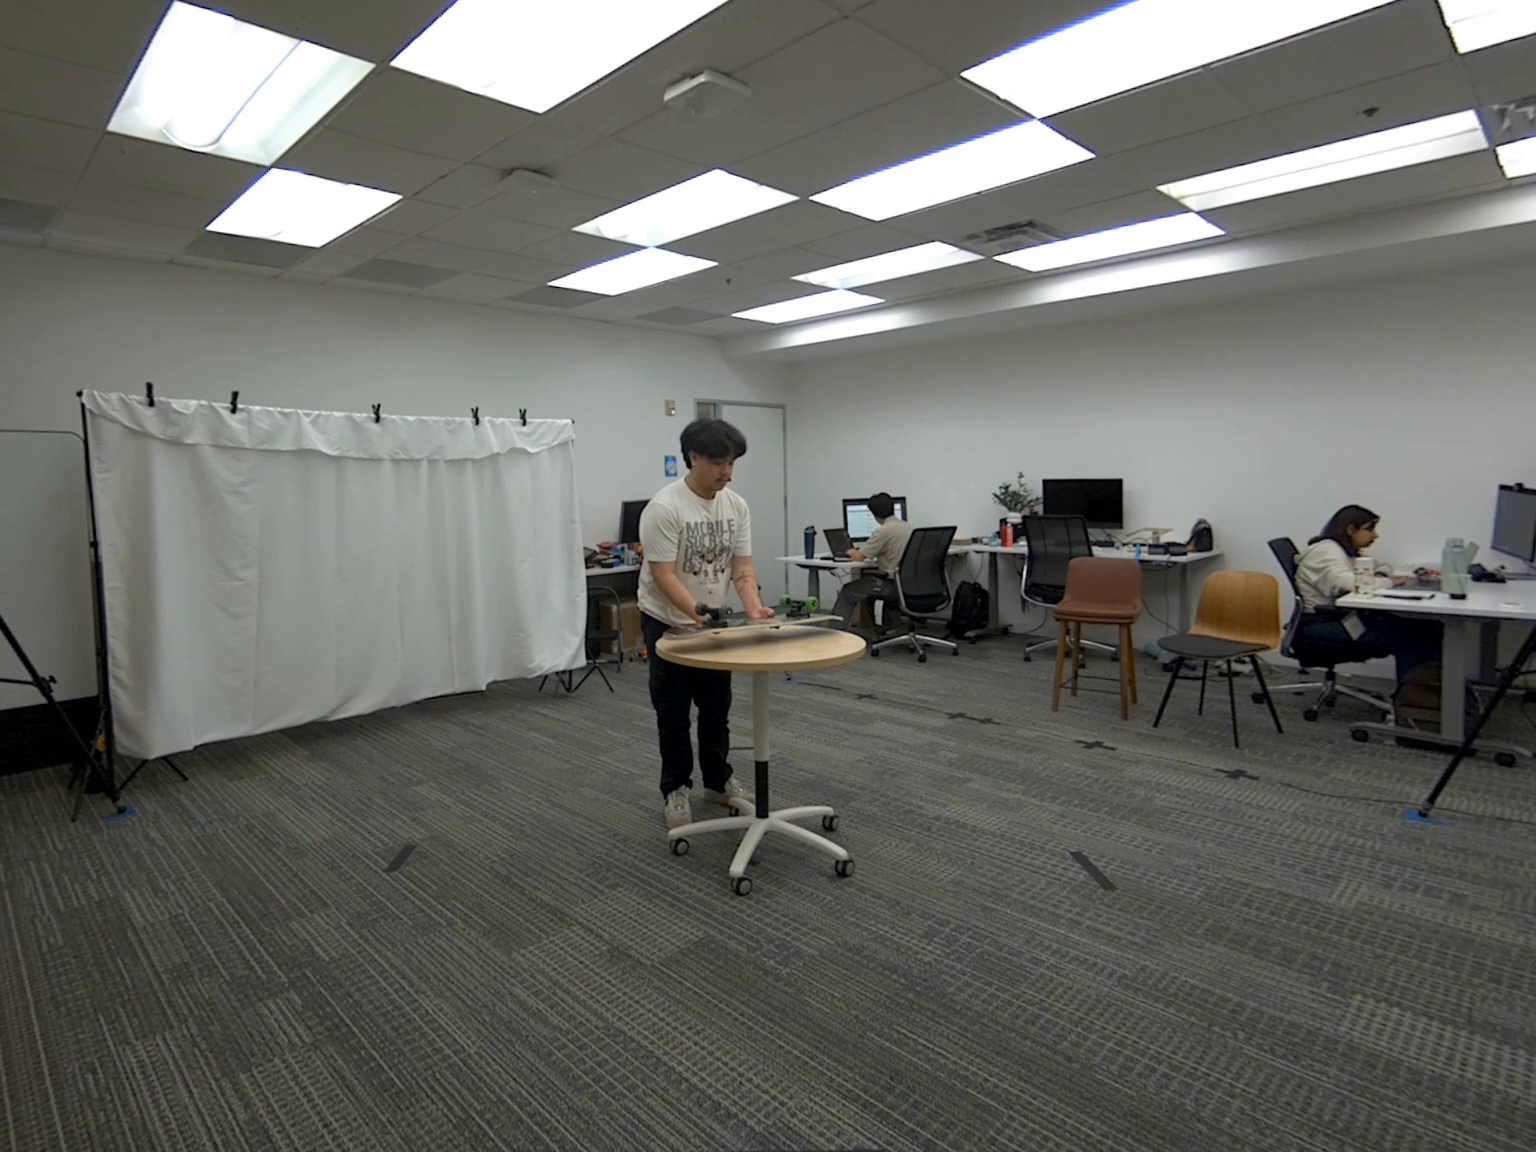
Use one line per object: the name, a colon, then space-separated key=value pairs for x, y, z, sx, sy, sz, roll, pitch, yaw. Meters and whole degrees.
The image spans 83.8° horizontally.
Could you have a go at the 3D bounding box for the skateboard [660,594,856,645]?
skateboard: x=-0.037 y=0.150 z=3.150 sx=0.765 sy=0.110 sz=0.199 roll=-3 pitch=4 yaw=-35
